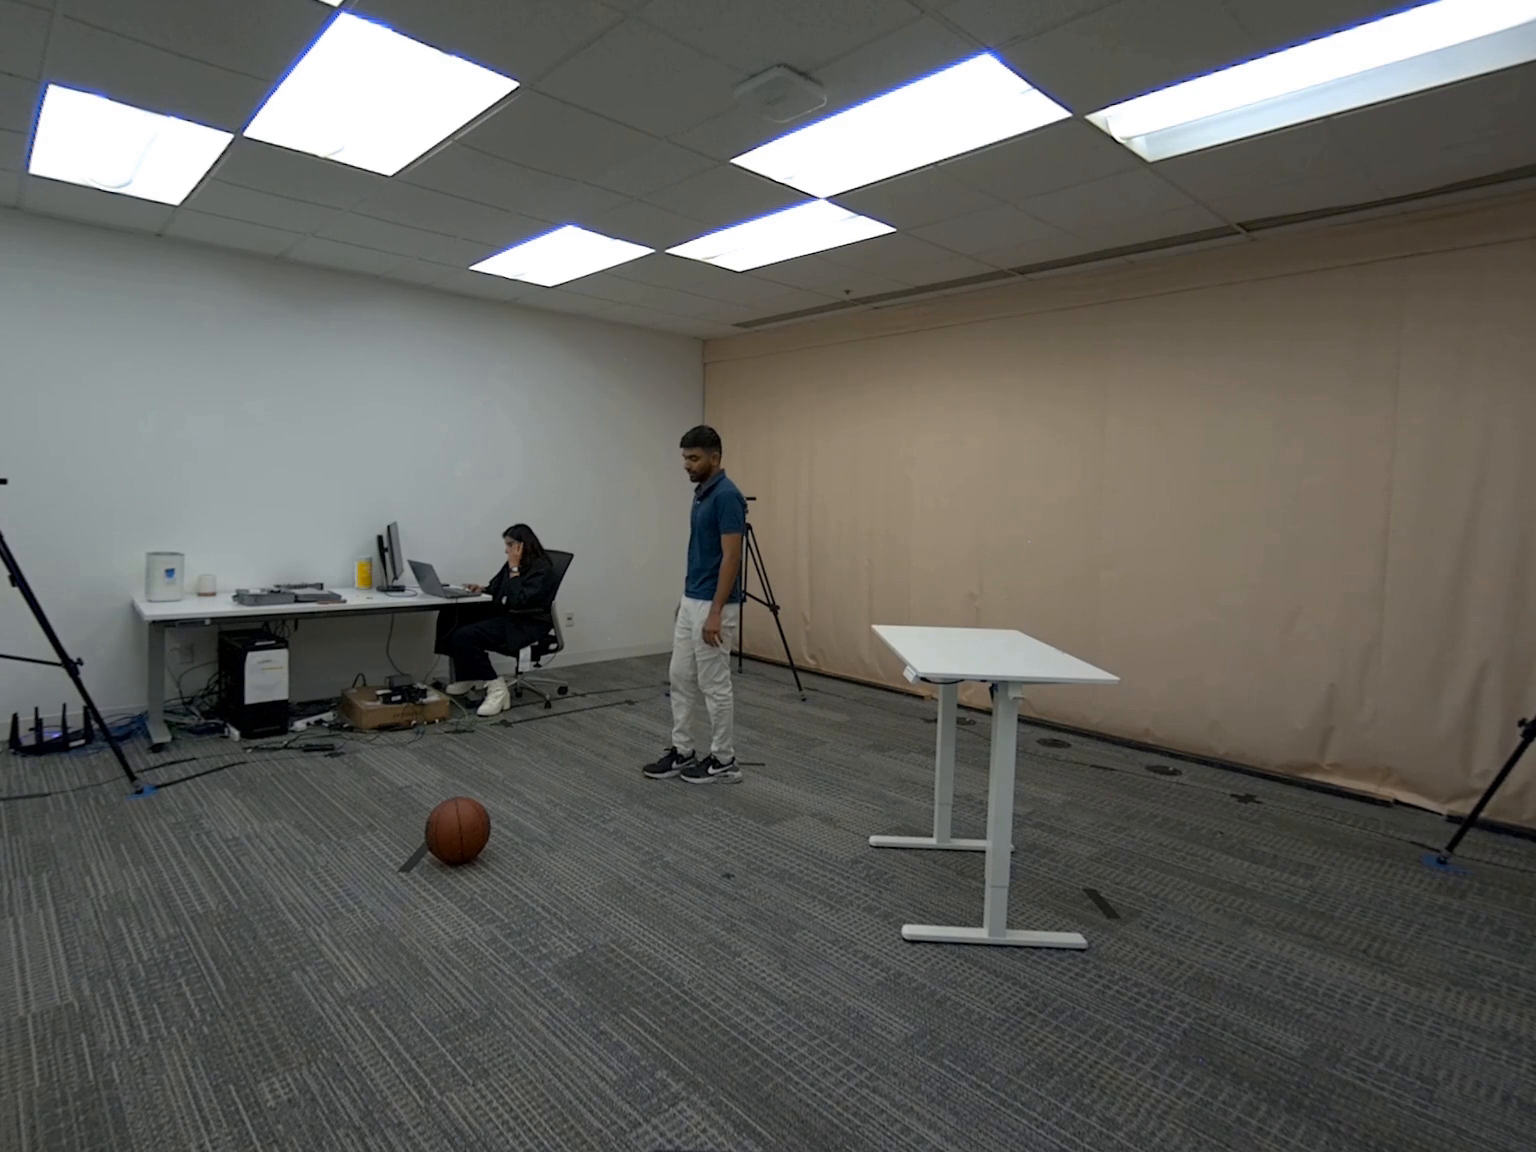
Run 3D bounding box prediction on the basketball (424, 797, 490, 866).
[{"bbox_3d":[-1.179,0.958,3.175,0.236,0.235,0.237,1,4,-1],"label":"basketball"}]
